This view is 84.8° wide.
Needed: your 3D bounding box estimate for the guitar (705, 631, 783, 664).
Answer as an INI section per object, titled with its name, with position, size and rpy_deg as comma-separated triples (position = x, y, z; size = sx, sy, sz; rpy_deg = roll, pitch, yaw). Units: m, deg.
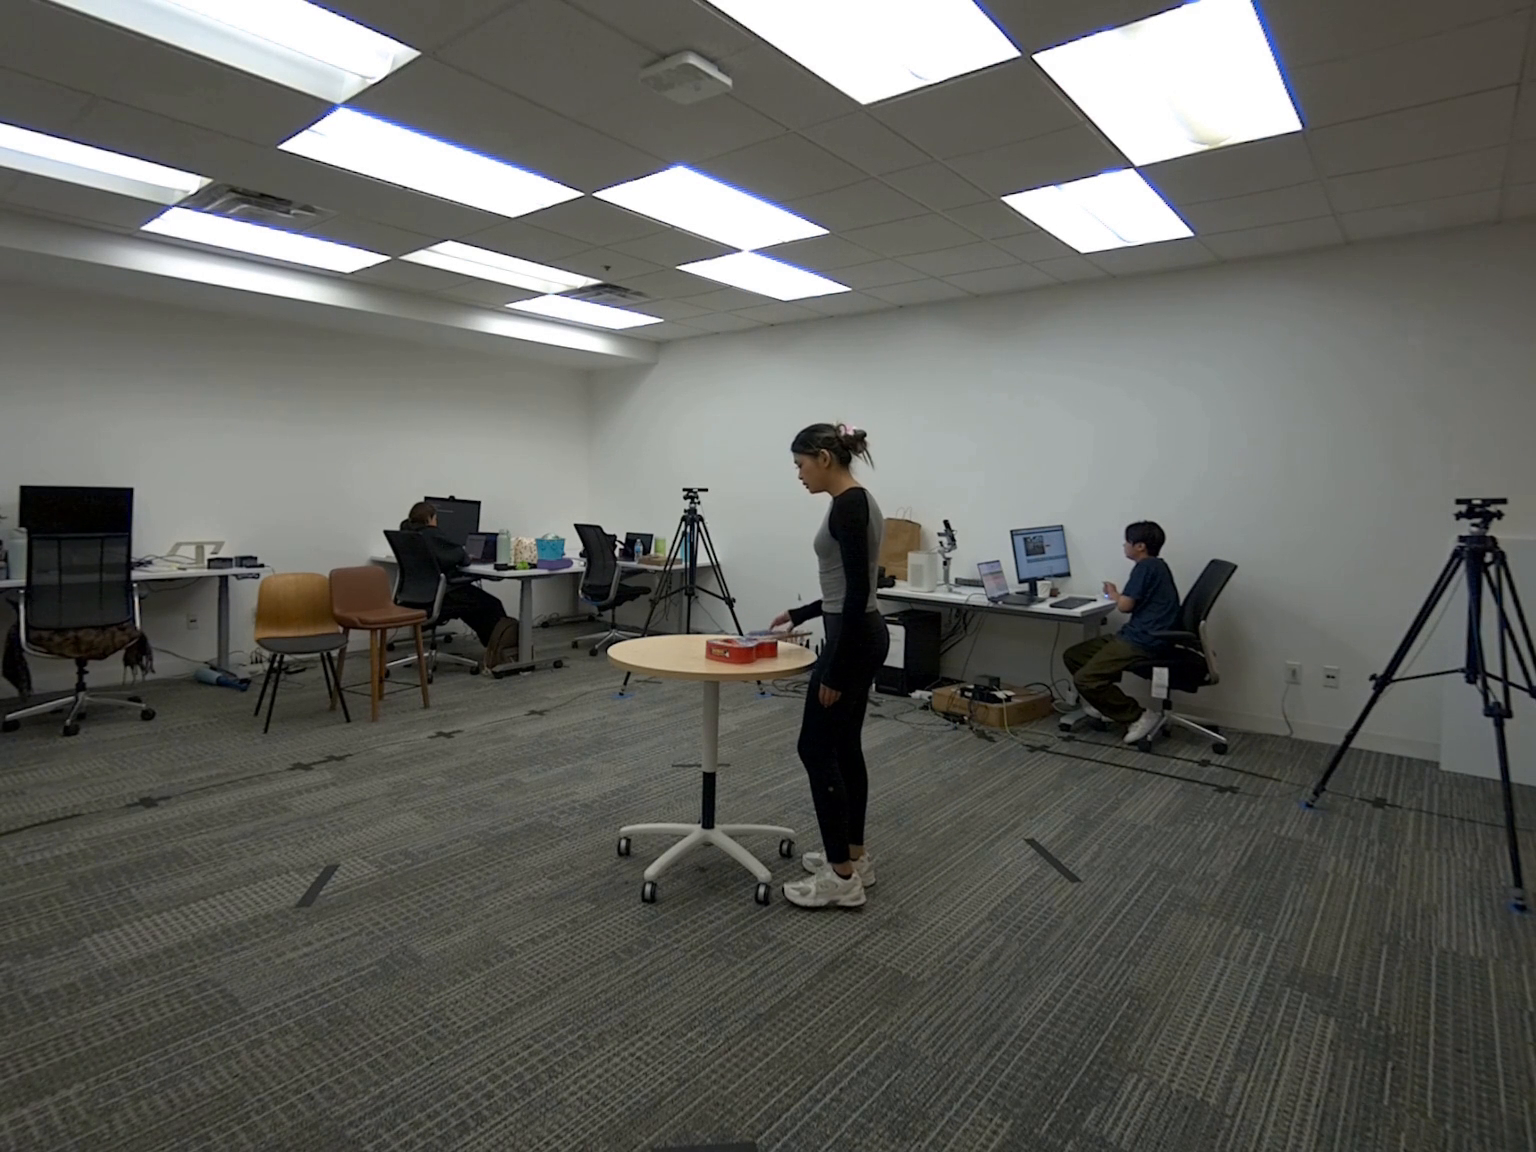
[guitar]
position = 0.007, 0.250, 3.087
size = 0.483, 0.070, 0.199
rpy_deg = -2, 6, -38
